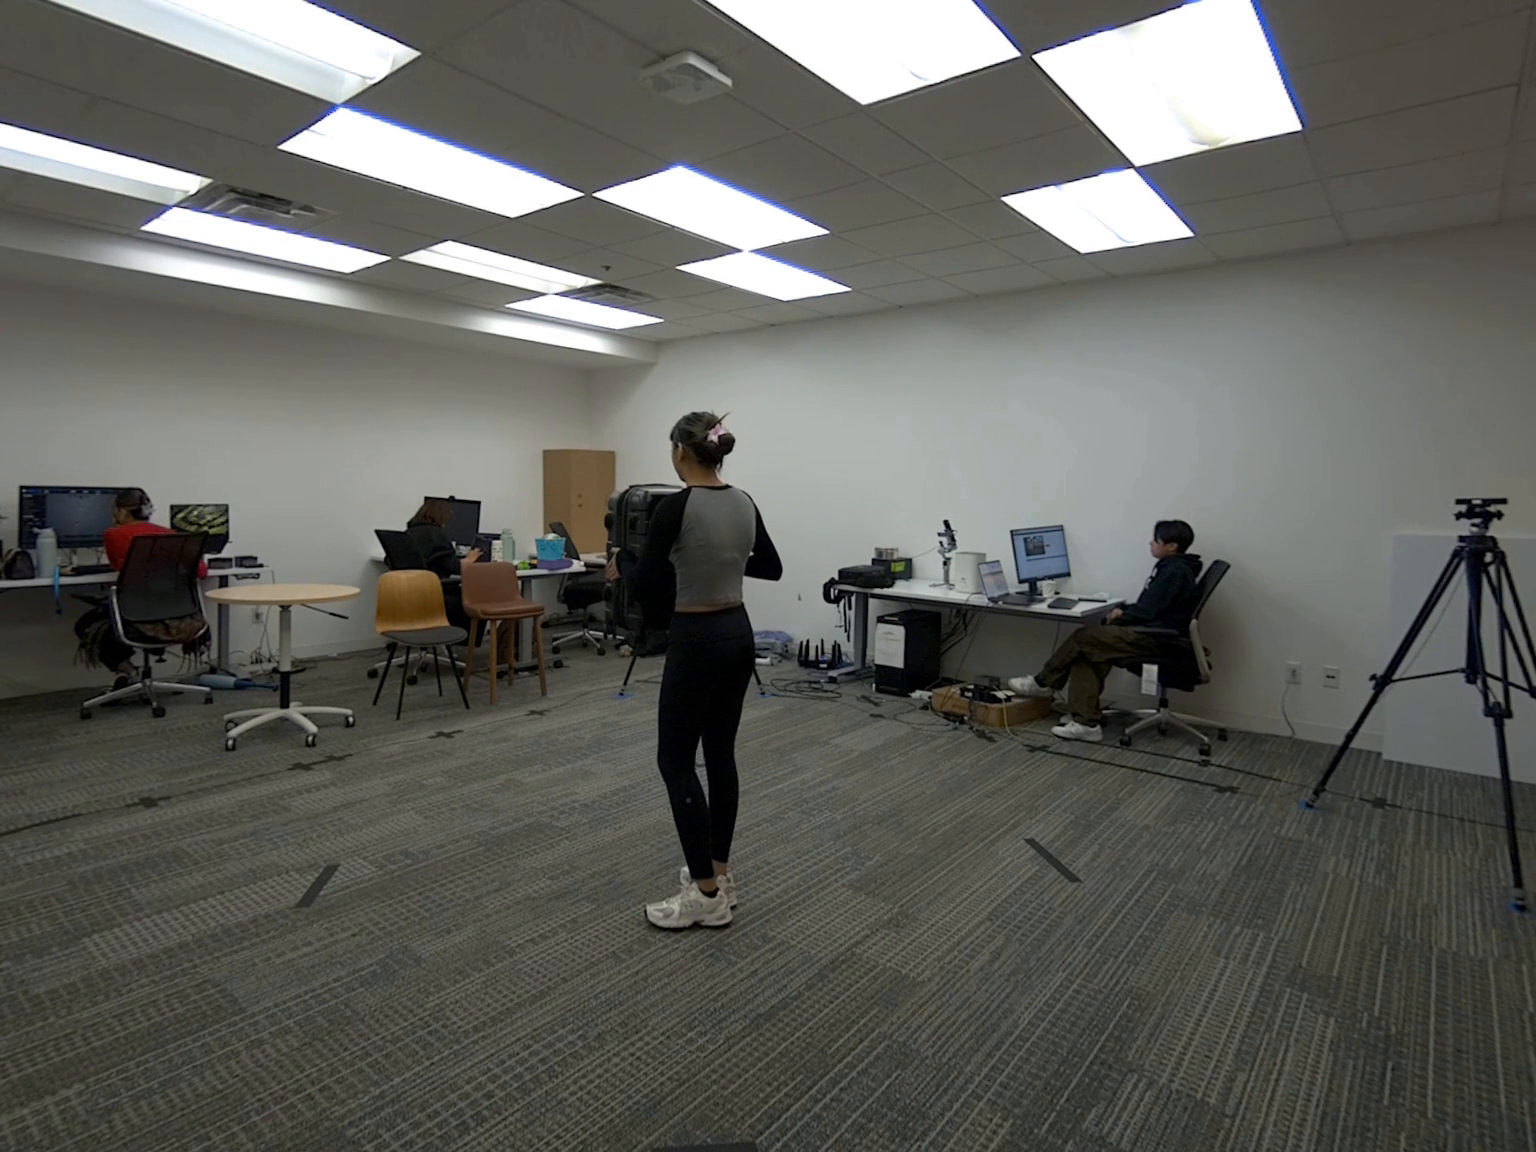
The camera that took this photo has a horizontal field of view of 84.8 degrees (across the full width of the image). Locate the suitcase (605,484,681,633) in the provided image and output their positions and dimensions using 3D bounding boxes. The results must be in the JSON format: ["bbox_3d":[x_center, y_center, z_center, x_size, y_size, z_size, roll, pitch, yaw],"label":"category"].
[{"bbox_3d":[-0.393,-0.051,3.029,0.364,0.548,0.257,0,4,-39],"label":"suitcase"}]
